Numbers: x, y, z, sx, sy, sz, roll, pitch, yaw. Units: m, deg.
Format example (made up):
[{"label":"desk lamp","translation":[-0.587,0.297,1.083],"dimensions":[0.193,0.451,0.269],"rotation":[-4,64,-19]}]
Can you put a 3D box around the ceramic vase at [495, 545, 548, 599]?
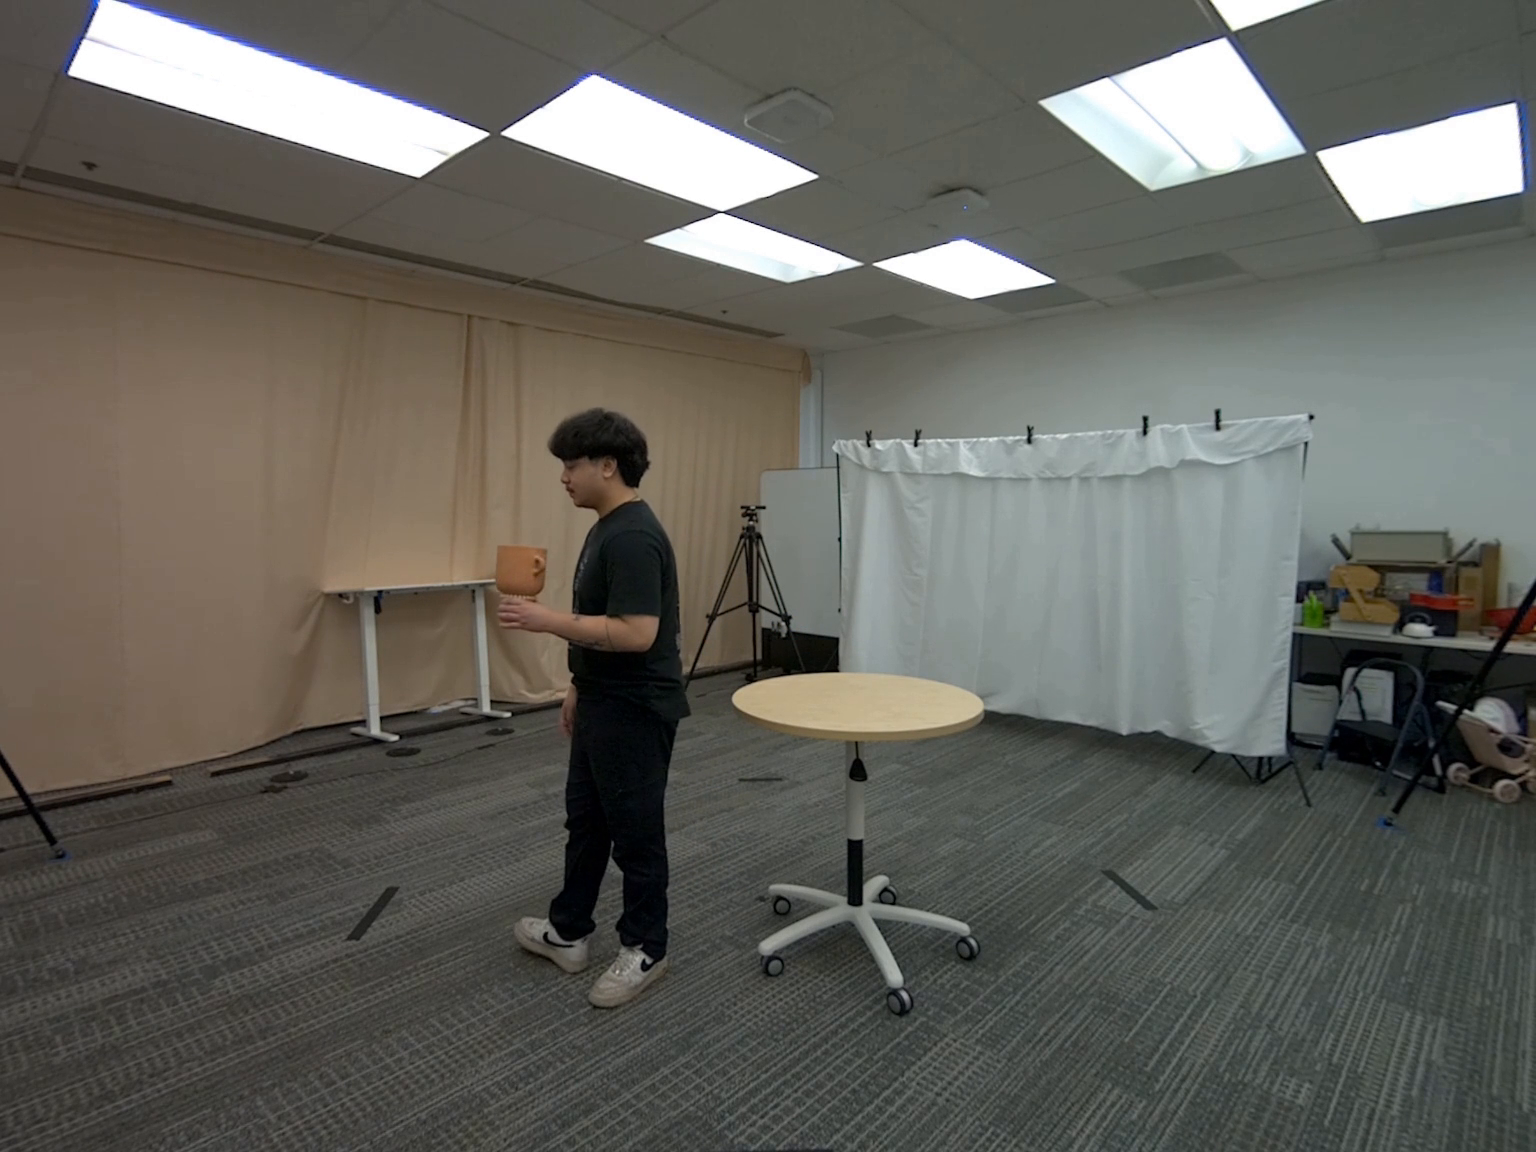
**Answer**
[{"label":"ceramic vase","translation":[-0.667,0.031,2.295],"dimensions":[0.133,0.220,0.160],"rotation":[3,-1,-11]}]
